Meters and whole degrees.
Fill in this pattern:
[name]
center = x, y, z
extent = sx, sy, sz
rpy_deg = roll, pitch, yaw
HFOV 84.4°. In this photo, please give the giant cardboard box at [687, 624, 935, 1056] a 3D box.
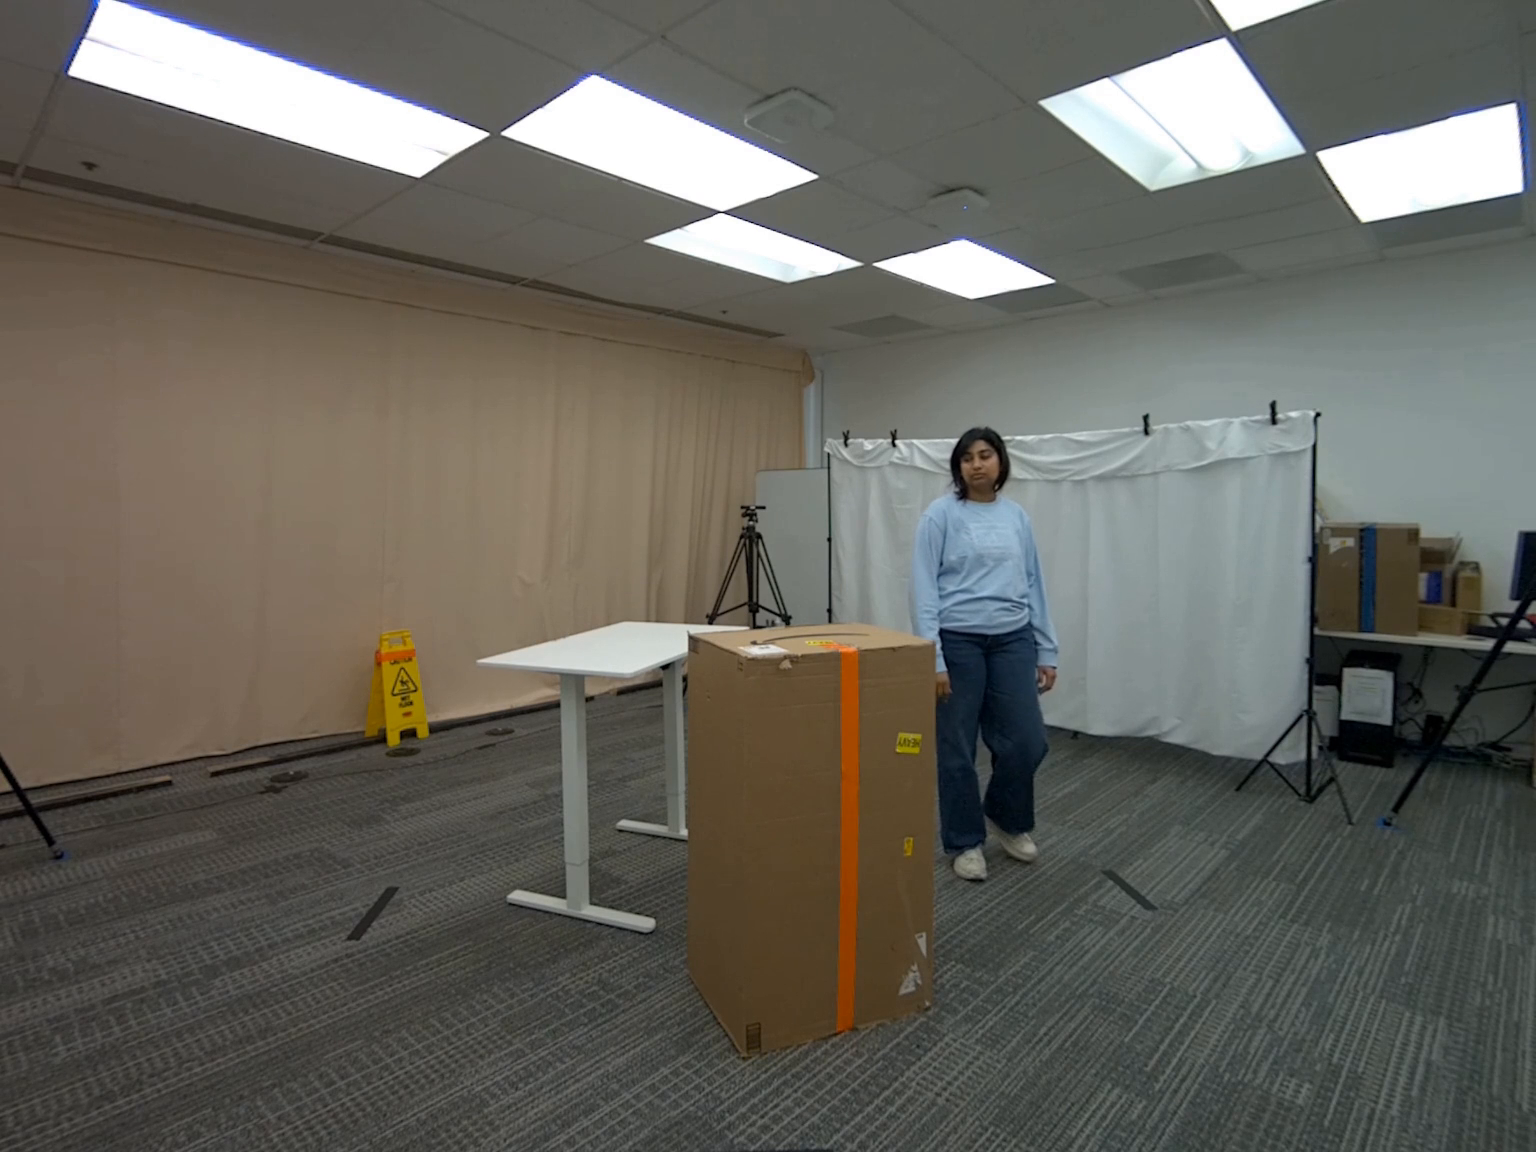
[giant cardboard box]
center = 0.114, 0.683, 2.393
extent = 0.564, 1.024, 0.437
rpy_deg = -1, 3, -25
